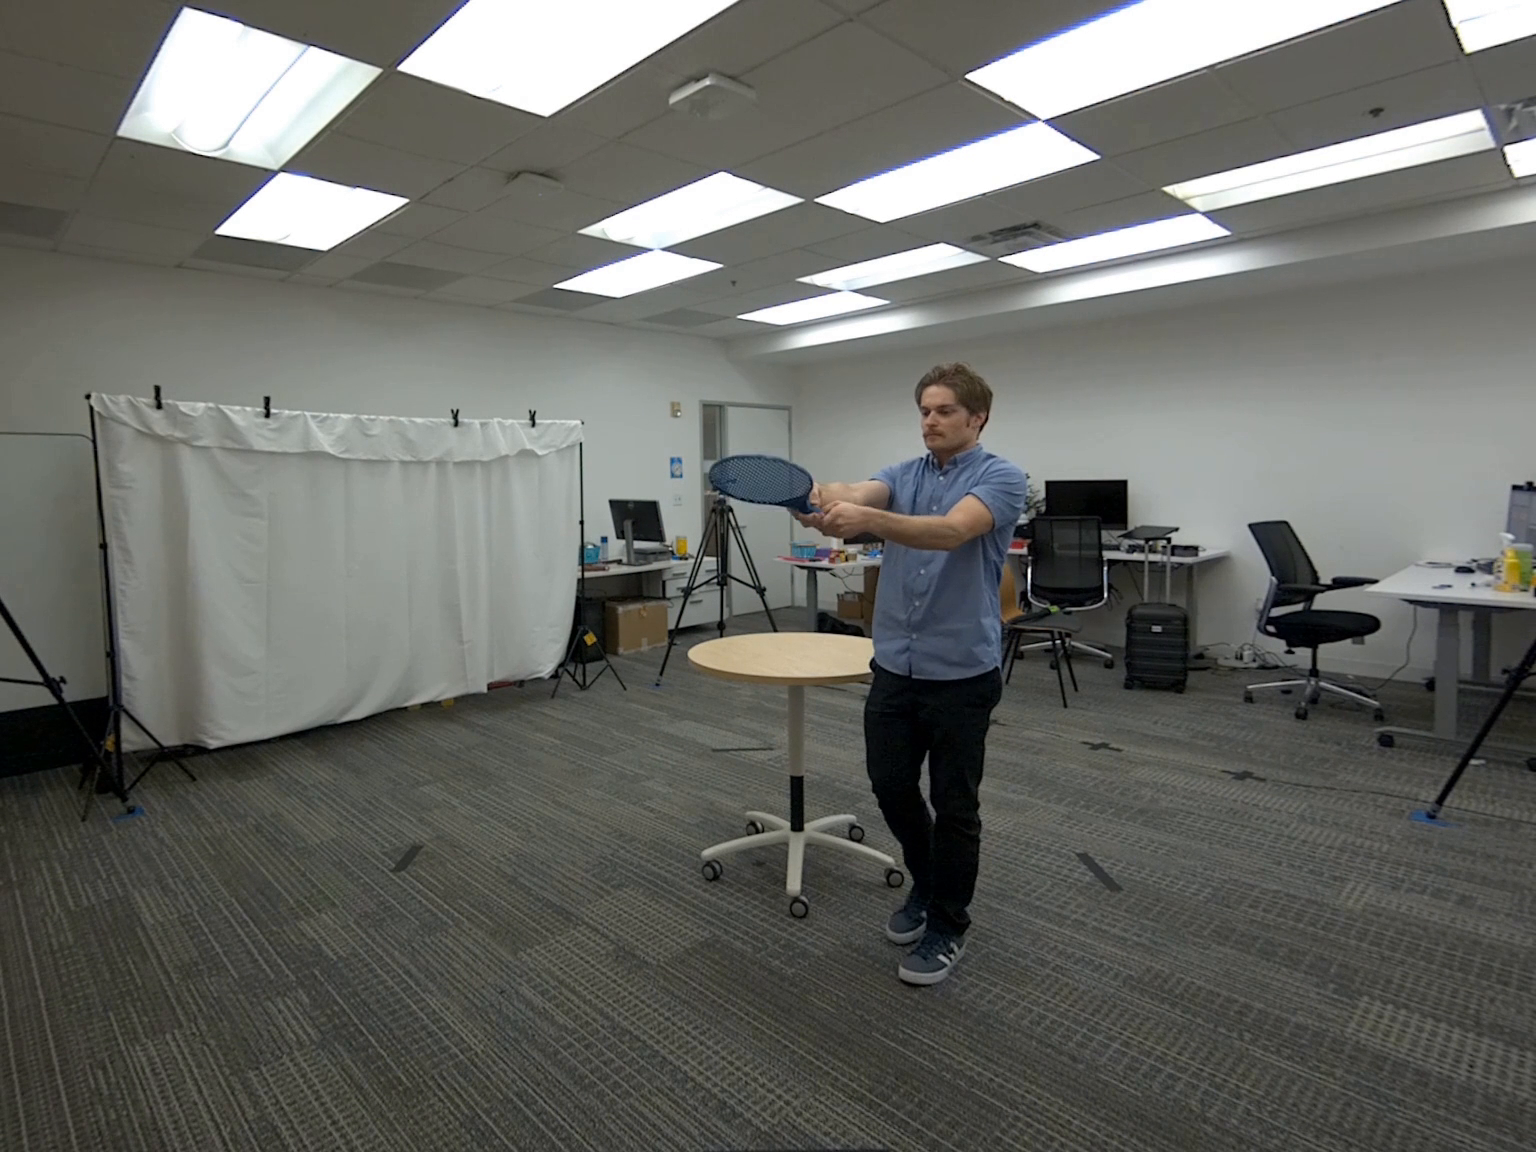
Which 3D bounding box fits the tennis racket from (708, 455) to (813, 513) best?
[{"bbox_3d":[0.029,-0.182,1.949,0.218,0.032,0.417,-6,-21,27],"label":"tennis racket"}]
